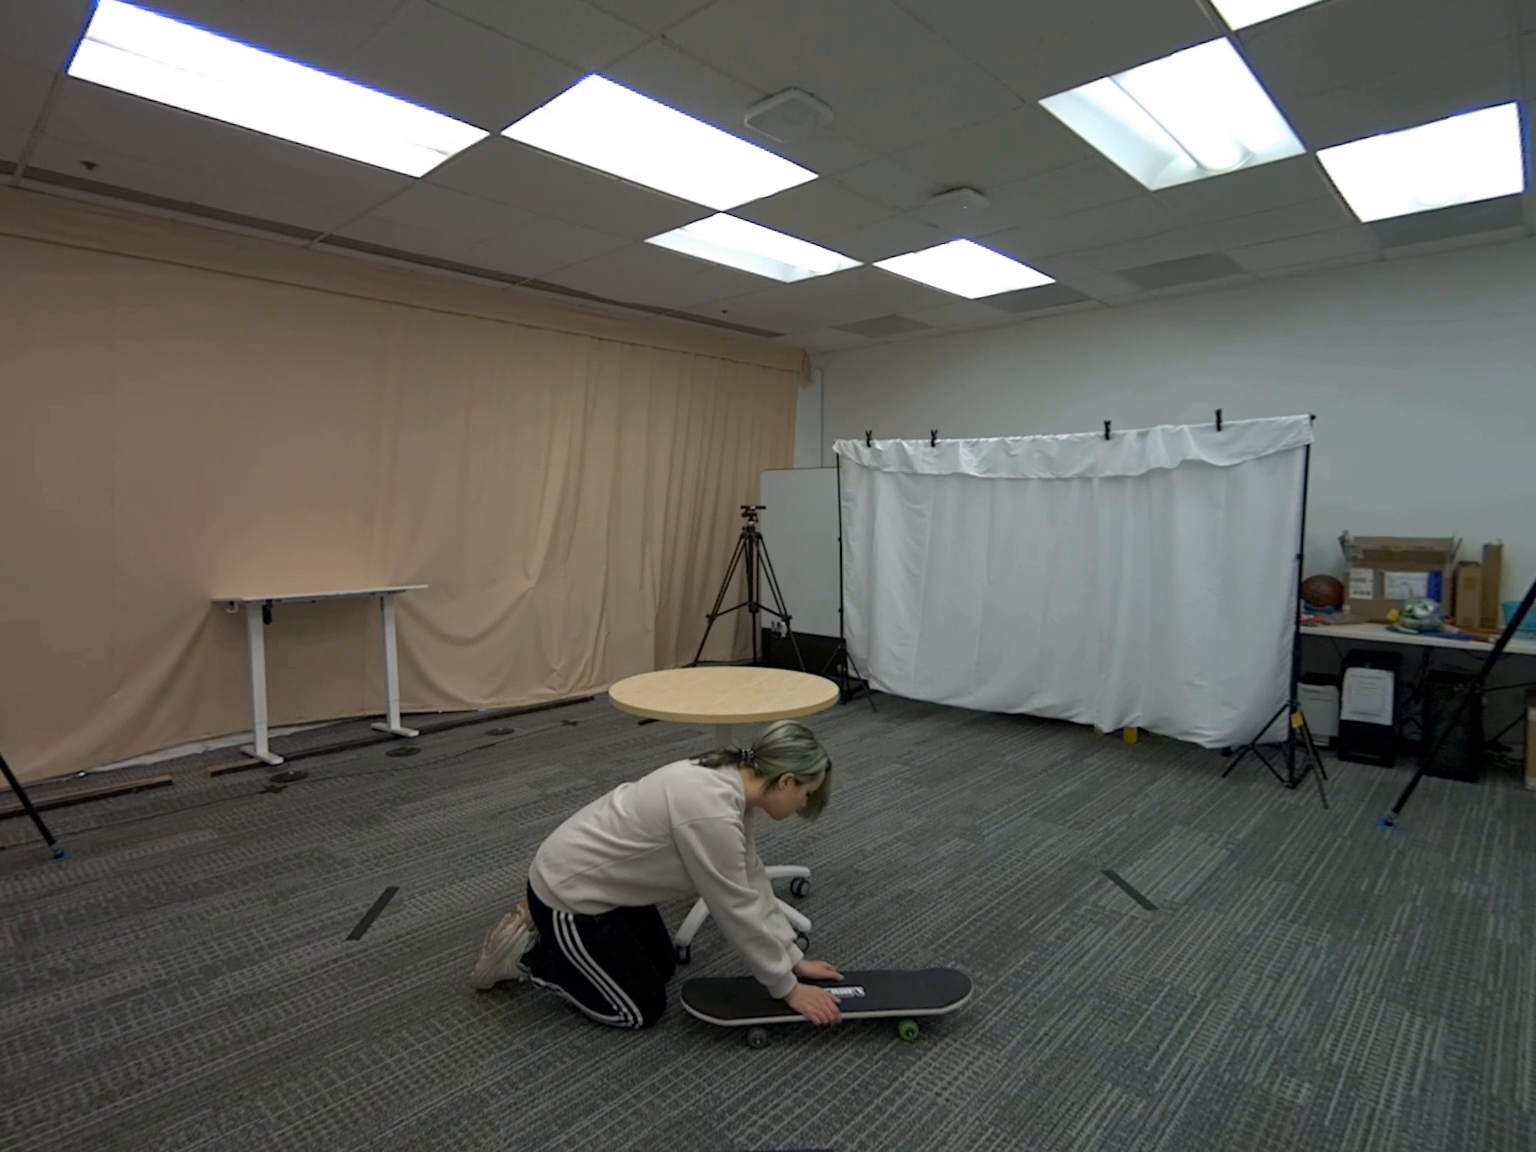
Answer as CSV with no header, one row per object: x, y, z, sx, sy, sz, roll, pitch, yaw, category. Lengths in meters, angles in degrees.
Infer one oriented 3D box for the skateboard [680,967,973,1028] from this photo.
0.162,1.139,2.255,0.782,0.110,0.195,0,6,-4,skateboard
